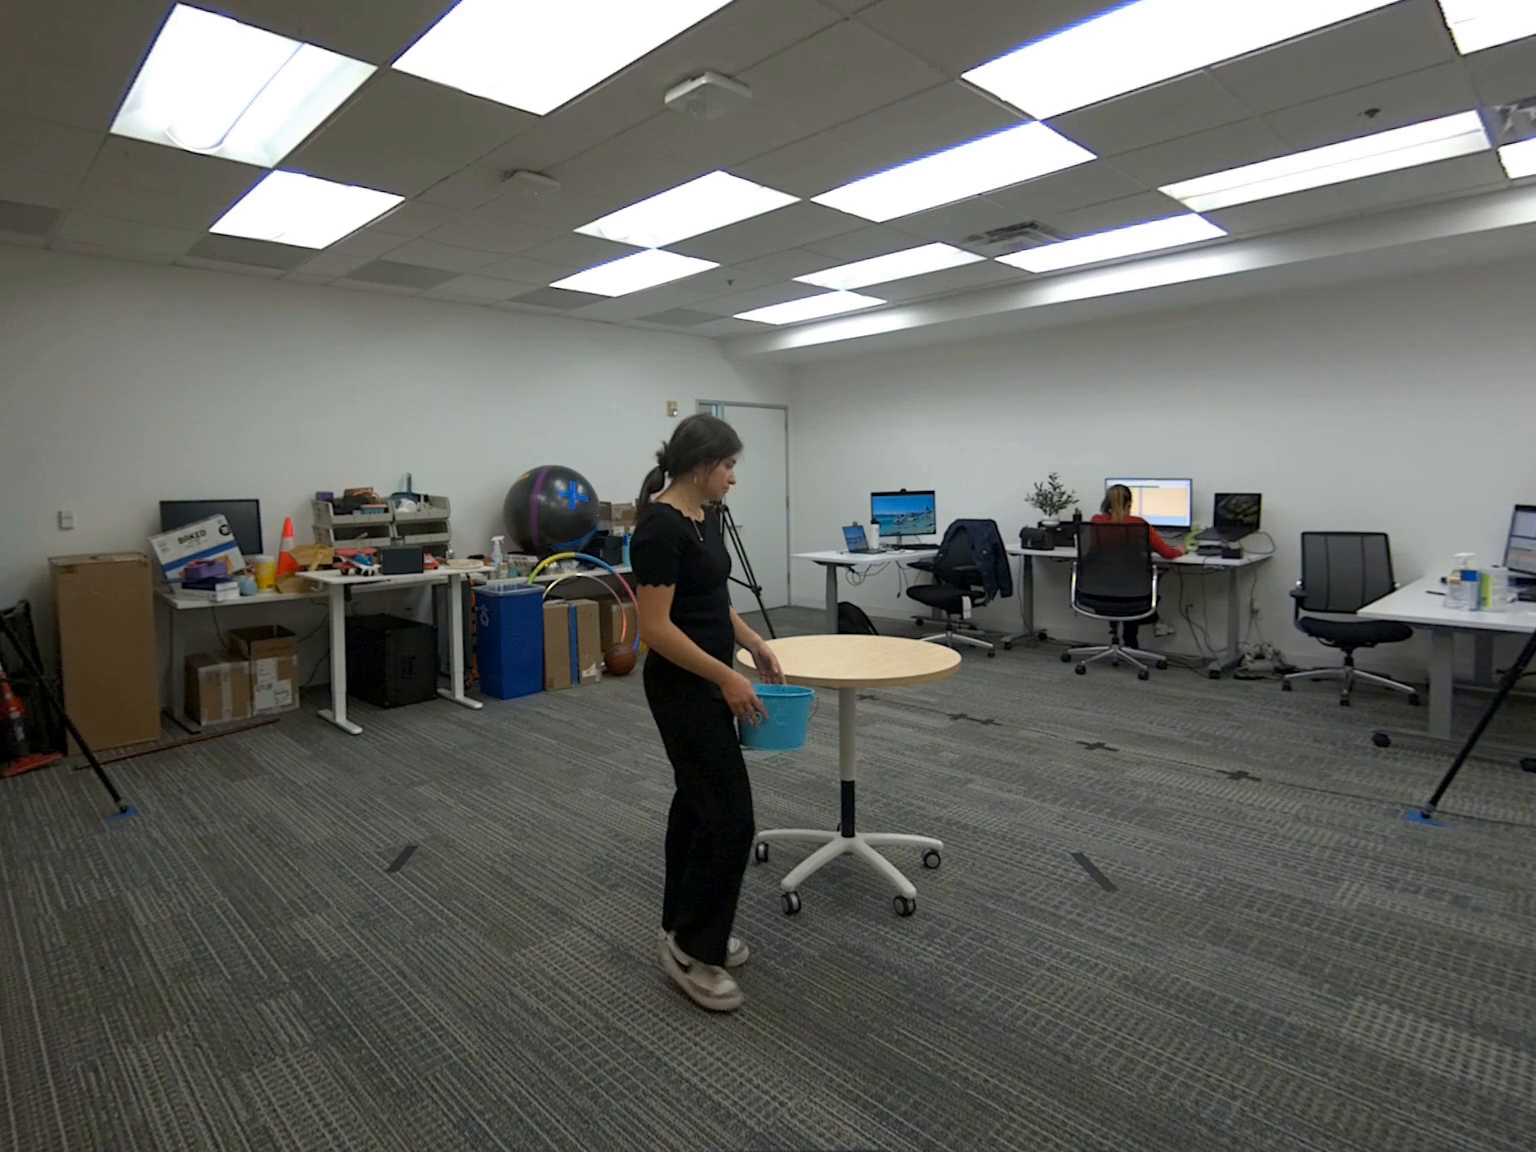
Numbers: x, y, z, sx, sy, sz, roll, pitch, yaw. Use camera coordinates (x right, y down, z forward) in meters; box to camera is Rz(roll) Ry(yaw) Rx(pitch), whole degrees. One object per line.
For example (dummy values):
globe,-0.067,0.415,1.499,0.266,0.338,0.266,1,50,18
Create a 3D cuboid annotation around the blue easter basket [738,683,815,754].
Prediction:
blue easter basket,0.006,0.397,2.376,0.243,0.156,0.243,1,0,-2
